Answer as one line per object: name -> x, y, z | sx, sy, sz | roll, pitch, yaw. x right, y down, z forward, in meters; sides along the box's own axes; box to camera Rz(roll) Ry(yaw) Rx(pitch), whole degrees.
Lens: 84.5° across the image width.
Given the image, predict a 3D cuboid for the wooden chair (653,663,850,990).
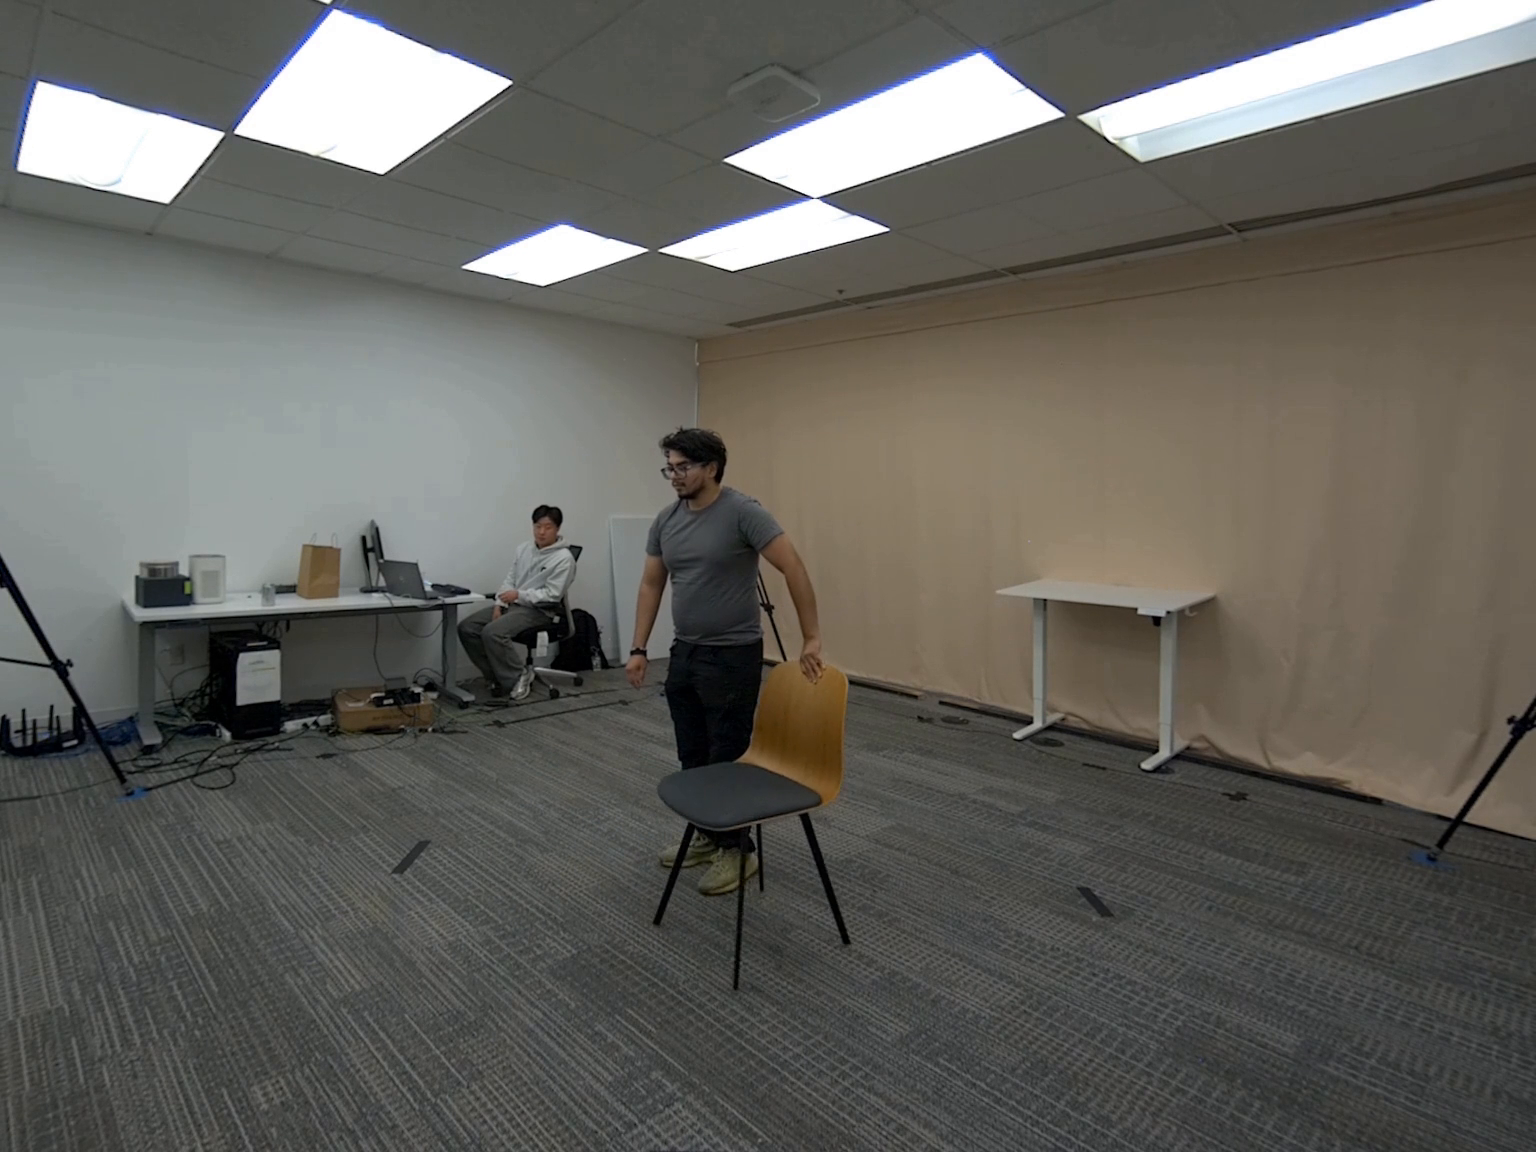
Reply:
wooden chair -> -0.057, 0.724, 2.654 | 0.510, 0.877, 0.490 | 4, 1, -38
